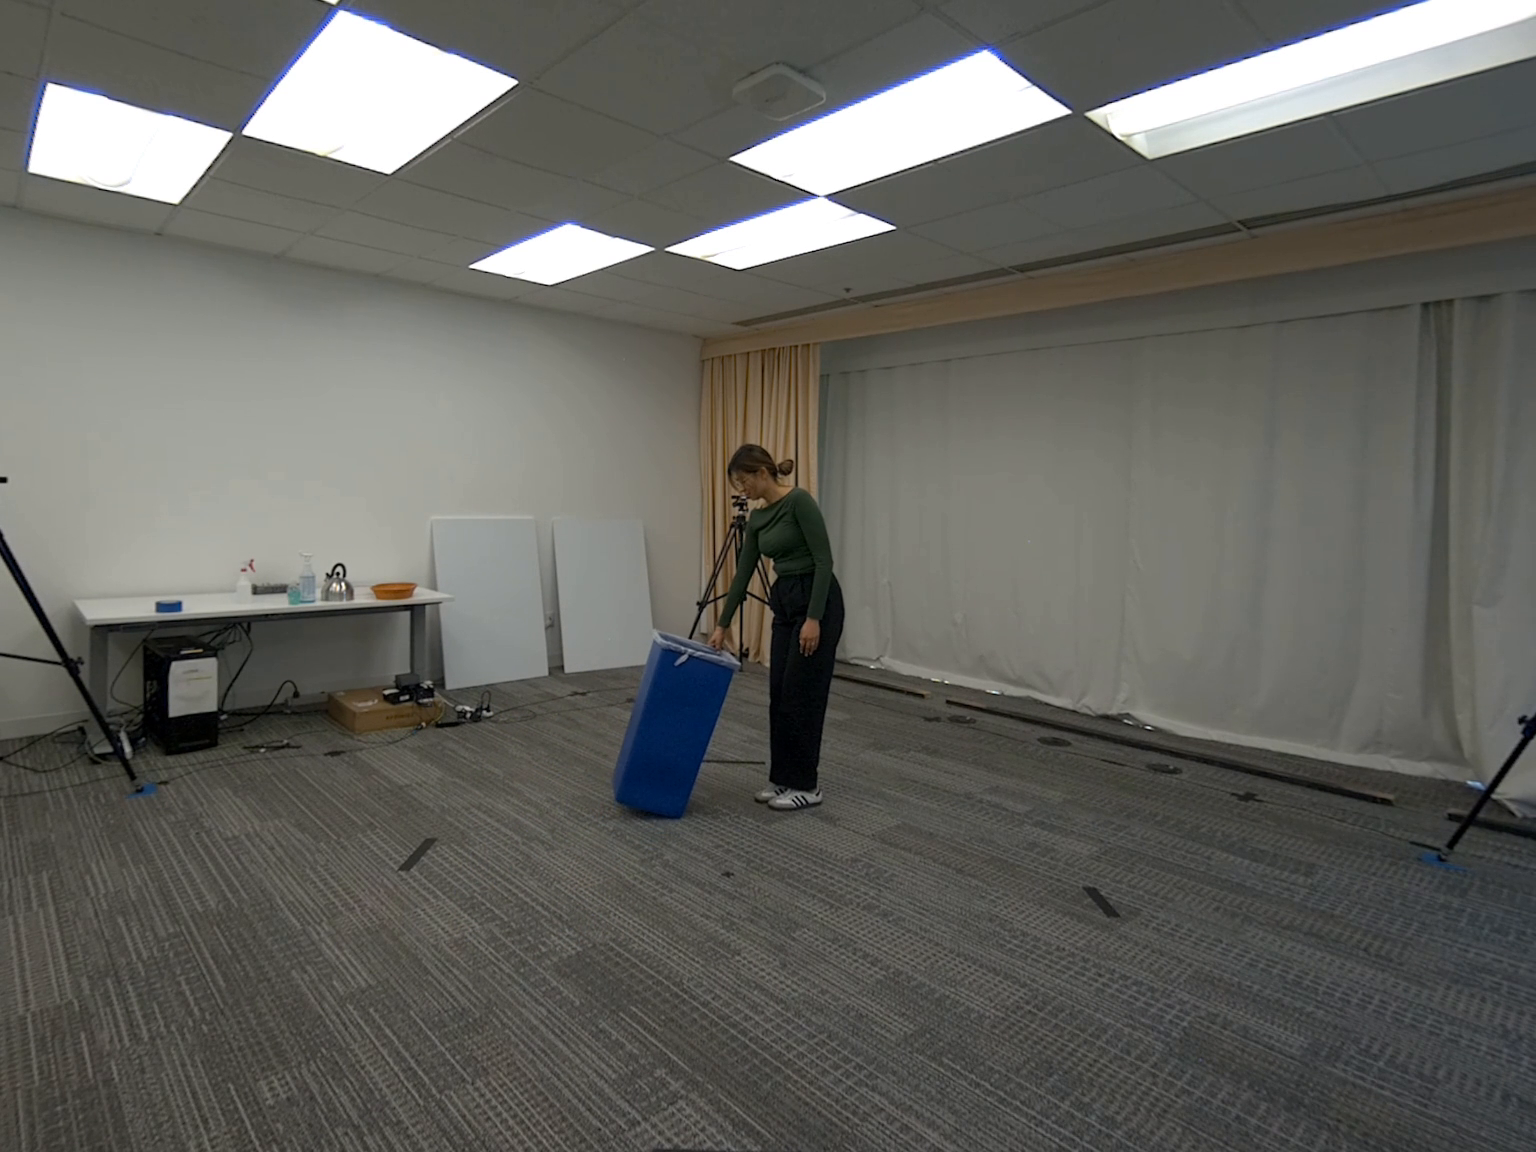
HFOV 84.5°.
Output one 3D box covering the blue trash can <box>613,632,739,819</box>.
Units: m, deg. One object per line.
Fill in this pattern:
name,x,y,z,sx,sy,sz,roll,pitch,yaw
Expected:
blue trash can,-0.442,0.653,3.748,0.369,0.714,0.382,19,-2,-13
